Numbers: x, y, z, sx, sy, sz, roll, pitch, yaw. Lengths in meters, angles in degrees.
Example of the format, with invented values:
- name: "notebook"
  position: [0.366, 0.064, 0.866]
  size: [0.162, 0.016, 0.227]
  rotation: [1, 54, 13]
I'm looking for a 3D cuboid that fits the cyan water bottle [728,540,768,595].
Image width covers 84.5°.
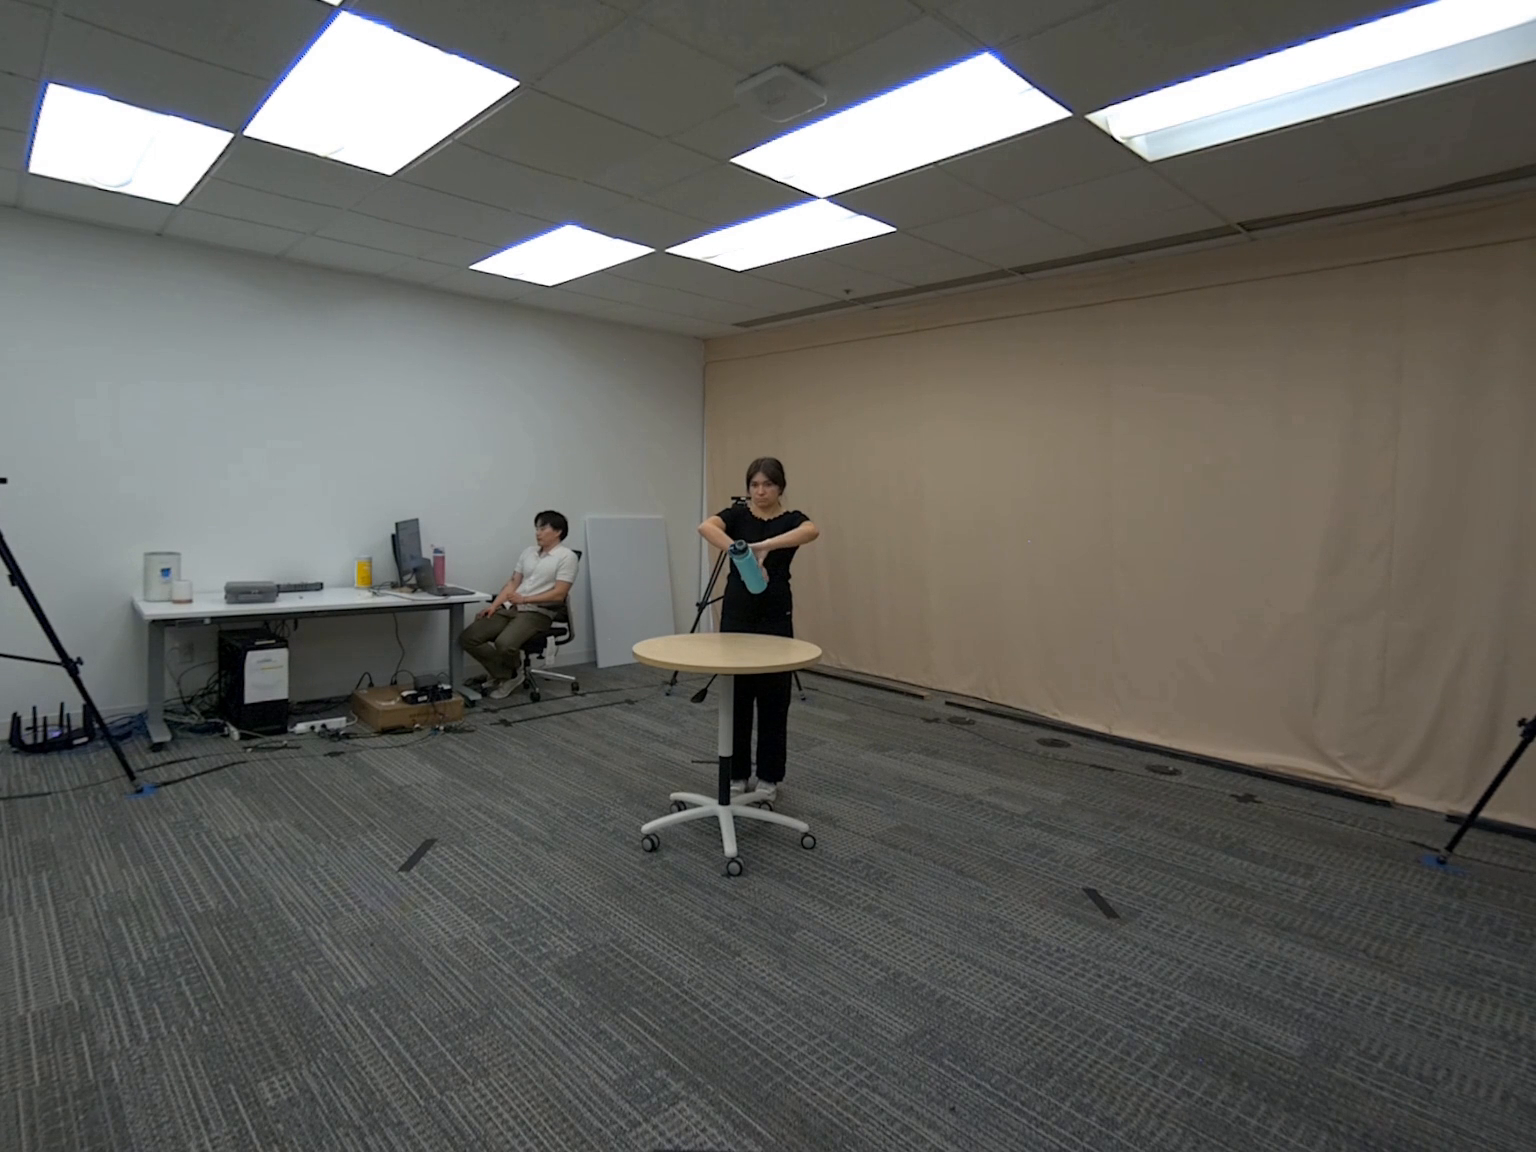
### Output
- name: "cyan water bottle"
  position: [-0.101, -0.047, 3.601]
  size: [0.093, 0.275, 0.094]
  rotation: [-12, 45, 11]
